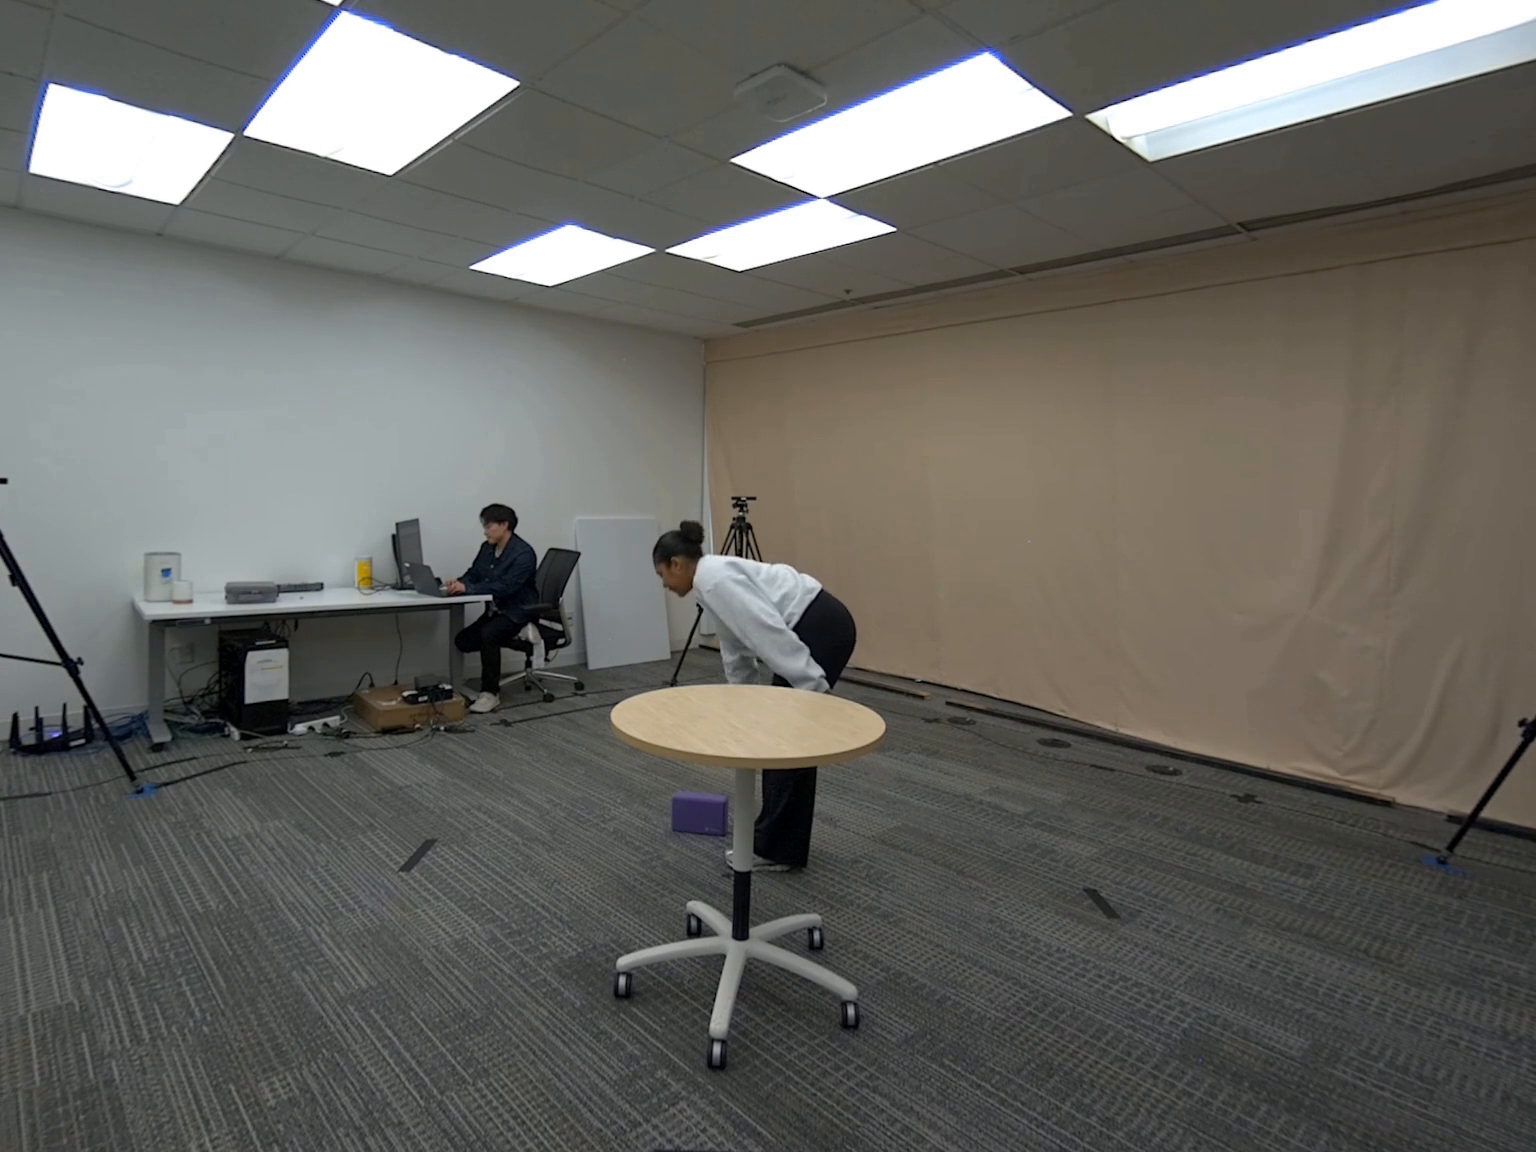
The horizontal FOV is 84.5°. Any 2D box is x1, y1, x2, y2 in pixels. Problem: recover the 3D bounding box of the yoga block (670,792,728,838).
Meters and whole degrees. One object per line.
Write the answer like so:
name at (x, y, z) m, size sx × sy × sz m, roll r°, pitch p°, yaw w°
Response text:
yoga block at (-0.289, 0.981, 3.516) m, size 0.231 × 0.149 × 0.076 m, roll -1°, pitch 3°, yaw 10°
